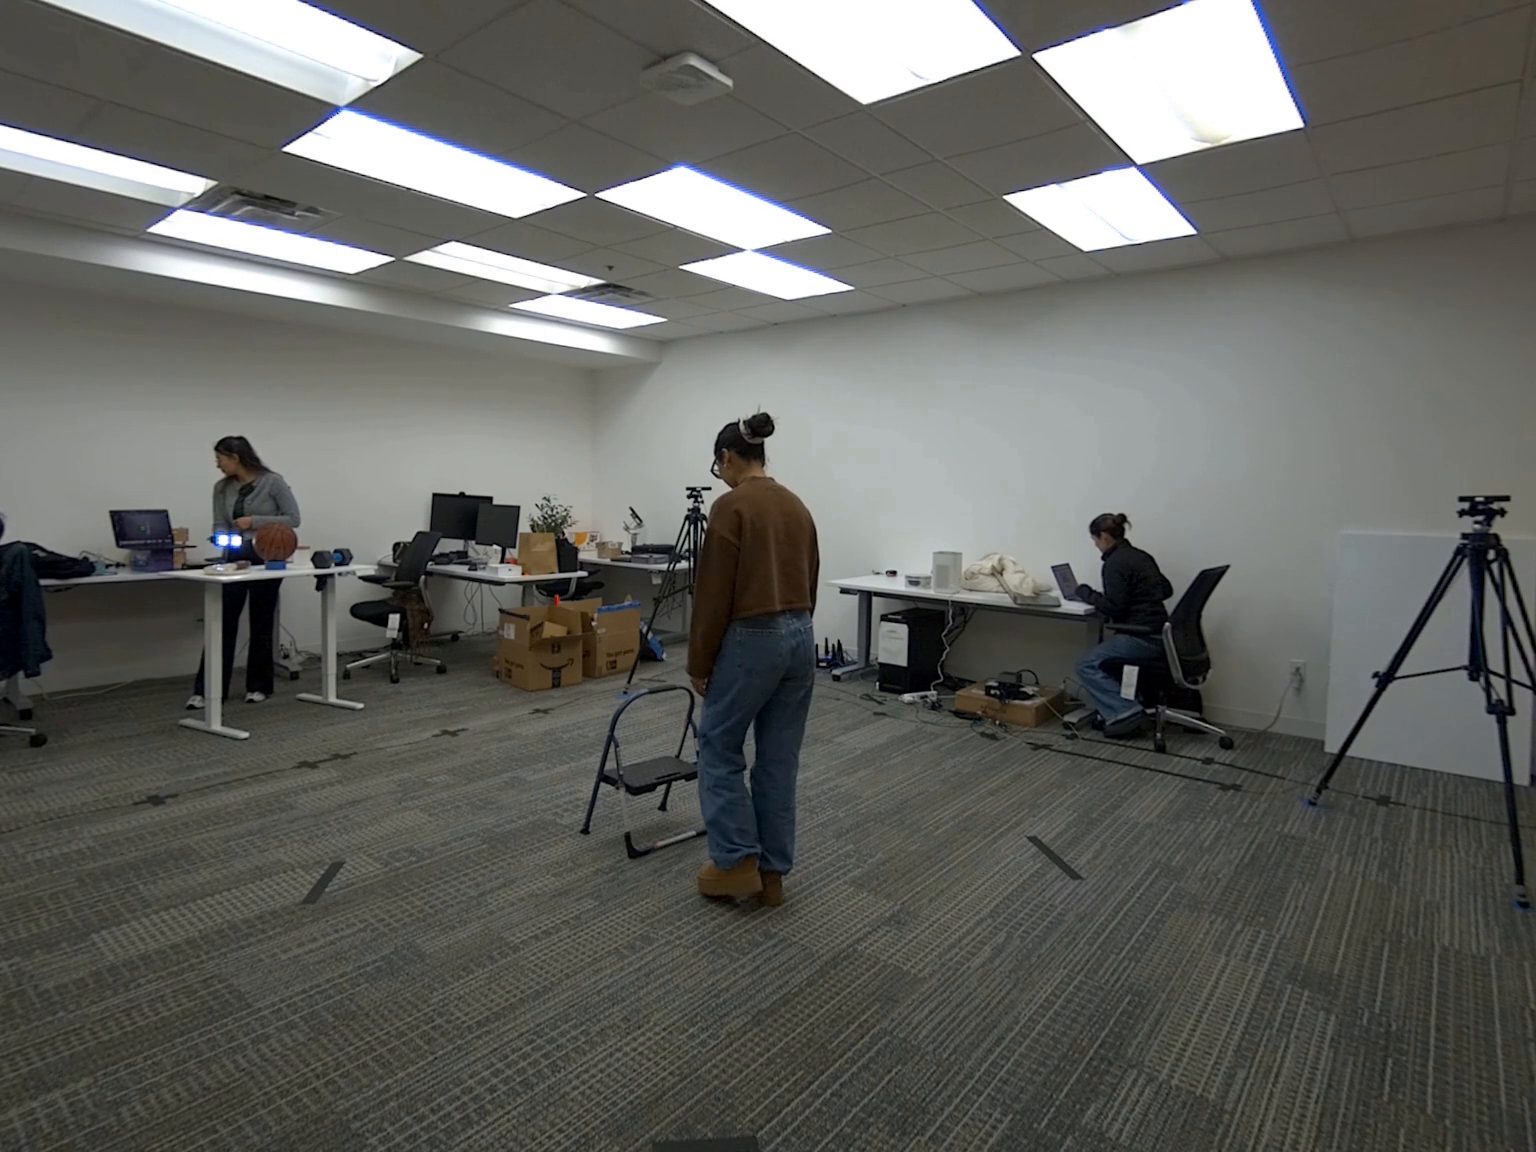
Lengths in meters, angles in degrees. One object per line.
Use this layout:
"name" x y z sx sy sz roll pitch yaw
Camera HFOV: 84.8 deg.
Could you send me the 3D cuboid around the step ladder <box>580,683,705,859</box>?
"step ladder" -0.493 0.727 3.412 0.417 0.604 0.361 -2 5 -44
